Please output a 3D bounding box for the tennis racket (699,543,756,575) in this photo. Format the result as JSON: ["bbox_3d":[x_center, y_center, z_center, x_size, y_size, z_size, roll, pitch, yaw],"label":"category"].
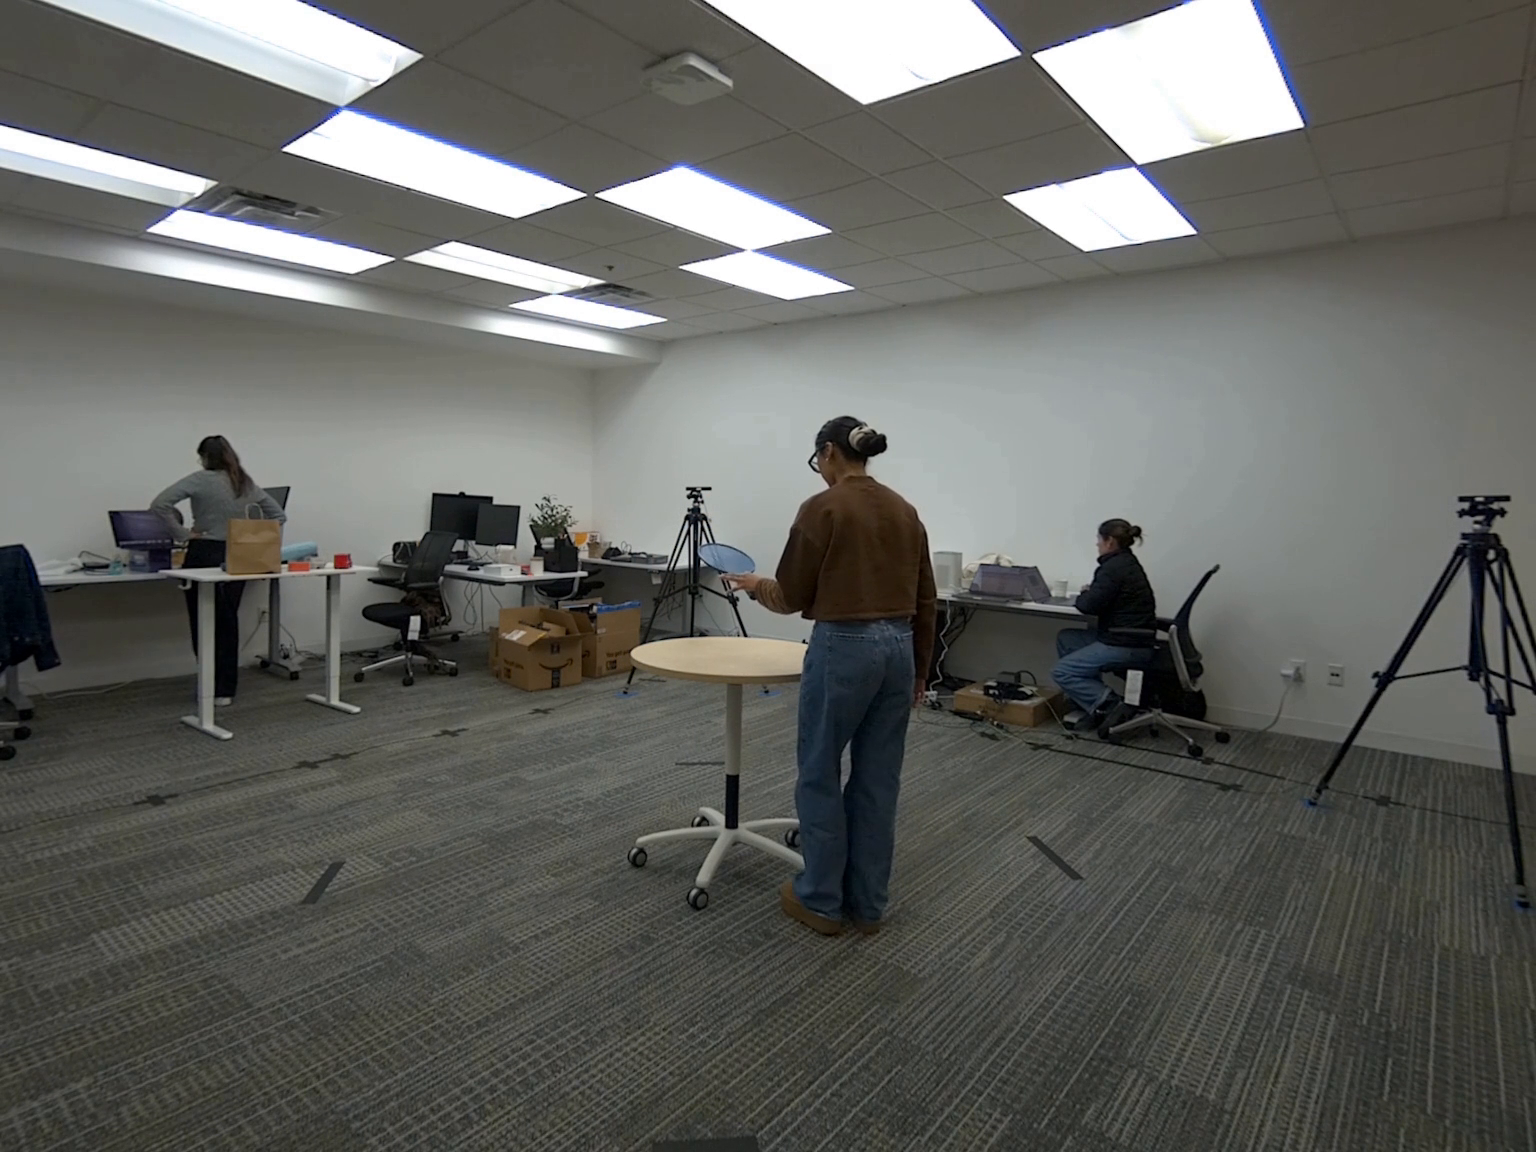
[{"bbox_3d":[-0.129,-0.026,3.091,0.209,0.031,0.449,0,25,-22],"label":"tennis racket"}]
